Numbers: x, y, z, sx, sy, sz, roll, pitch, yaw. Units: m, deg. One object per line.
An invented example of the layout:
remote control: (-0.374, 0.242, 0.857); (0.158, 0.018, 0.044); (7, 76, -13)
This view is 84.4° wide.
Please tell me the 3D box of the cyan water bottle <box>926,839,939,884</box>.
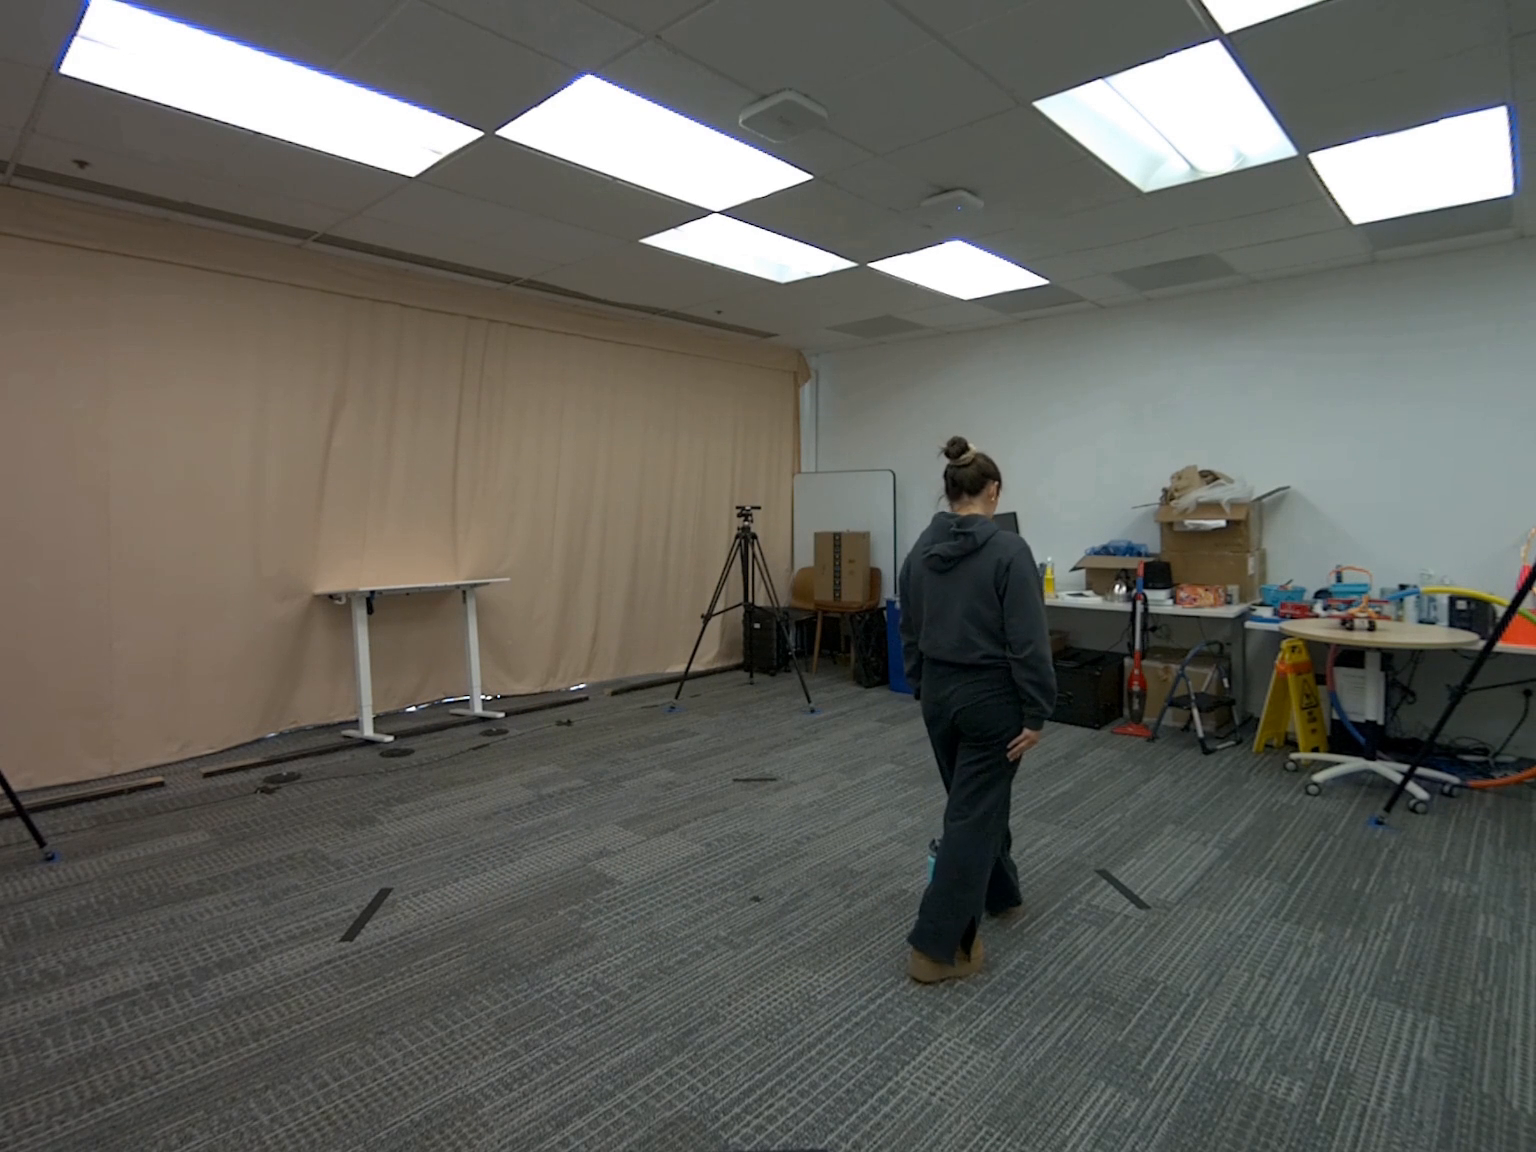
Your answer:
cyan water bottle: (0.615, 1.008, 2.798); (0.092, 0.283, 0.092); (-4, 1, -2)
